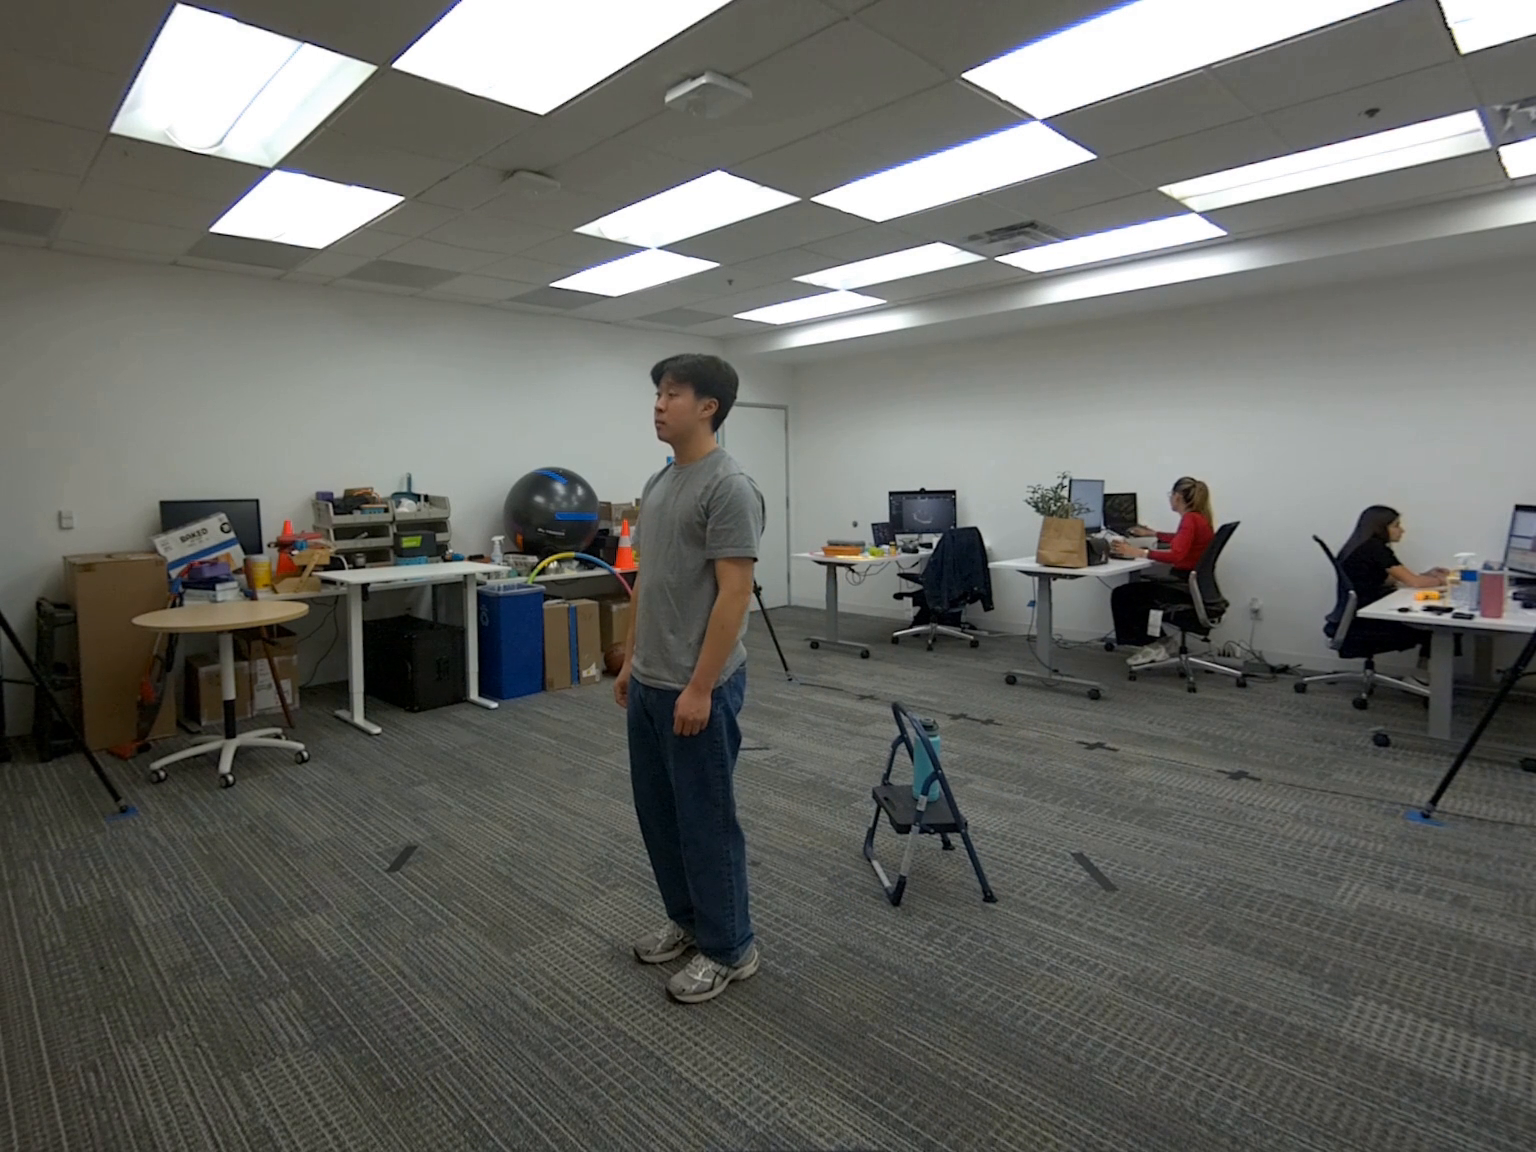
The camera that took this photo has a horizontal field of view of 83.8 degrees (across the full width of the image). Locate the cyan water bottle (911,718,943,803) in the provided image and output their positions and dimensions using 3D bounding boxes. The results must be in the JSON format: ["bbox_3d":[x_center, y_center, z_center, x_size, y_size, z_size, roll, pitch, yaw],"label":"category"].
[{"bbox_3d":[0.569,0.641,3.010,0.092,0.283,0.092,0,0,-2],"label":"cyan water bottle"}]
